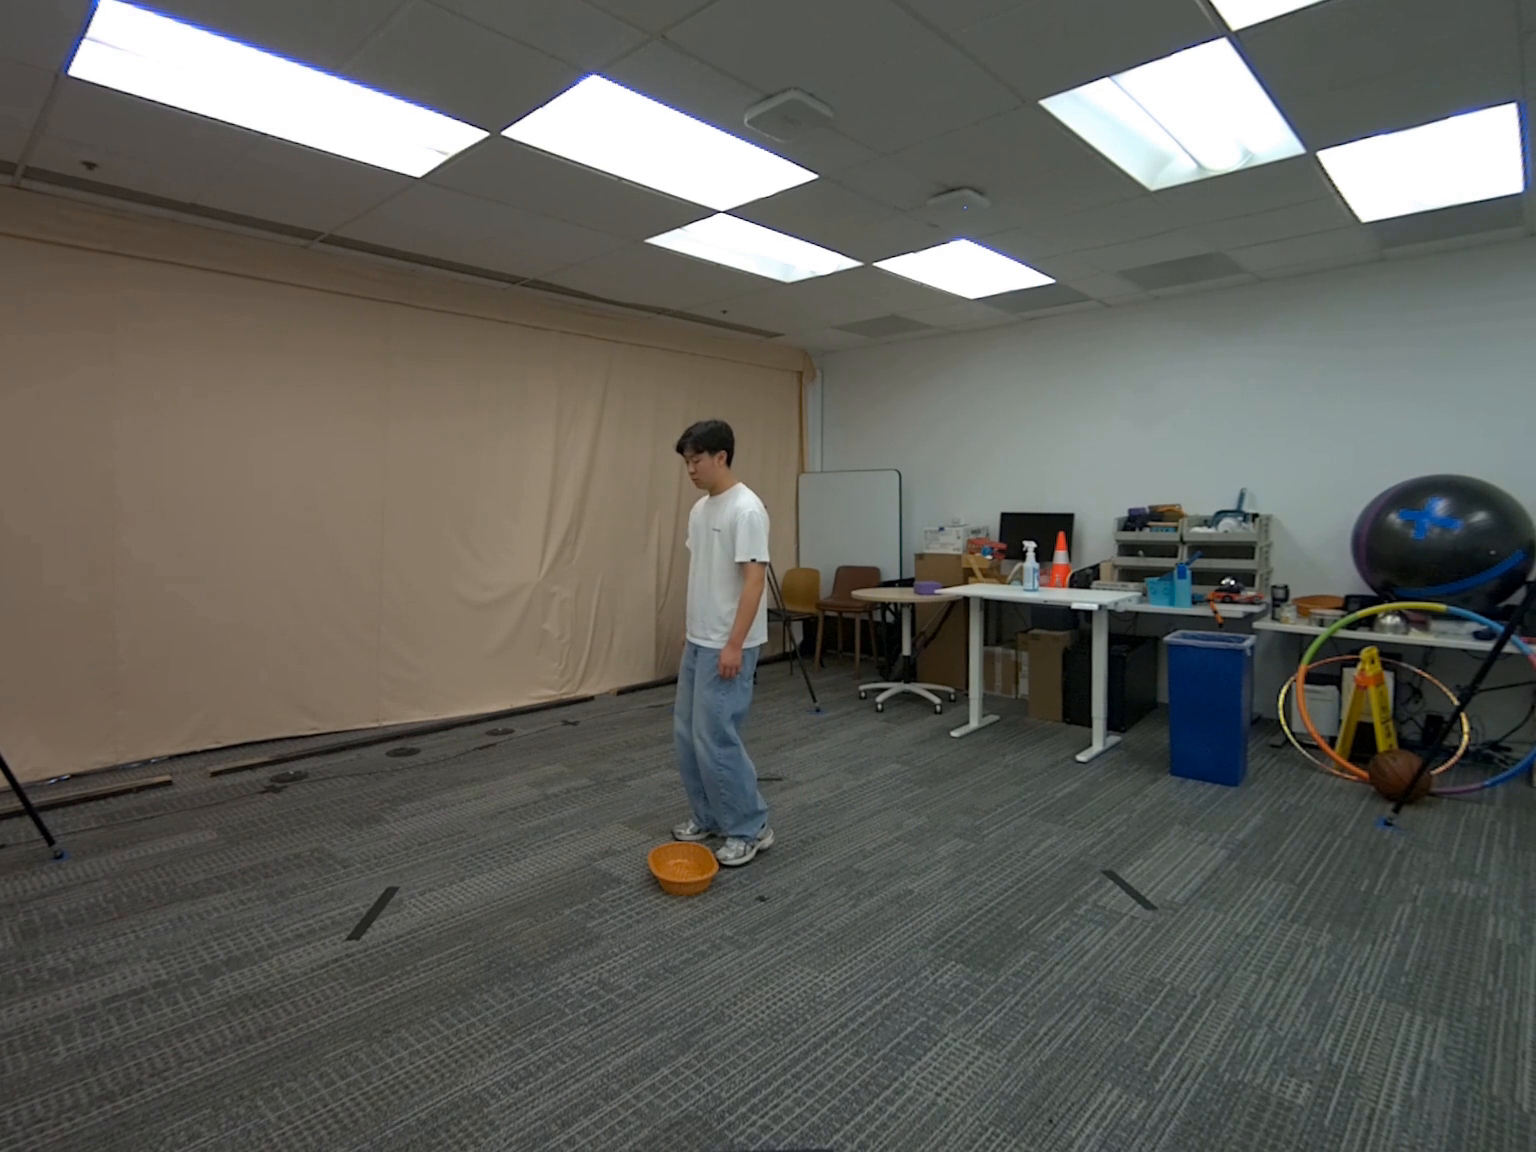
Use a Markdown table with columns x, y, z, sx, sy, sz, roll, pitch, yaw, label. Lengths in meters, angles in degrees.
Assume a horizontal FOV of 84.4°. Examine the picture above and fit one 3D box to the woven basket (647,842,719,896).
| x | y | z | sx | sy | sz | roll | pitch | yaw | label |
| --- | --- | --- | --- | --- | --- | --- | --- | --- | --- |
| -0.318 | 1.088 | 3.147 | 0.249 | 0.073 | 0.356 | -1 | 5 | -12 | woven basket |
